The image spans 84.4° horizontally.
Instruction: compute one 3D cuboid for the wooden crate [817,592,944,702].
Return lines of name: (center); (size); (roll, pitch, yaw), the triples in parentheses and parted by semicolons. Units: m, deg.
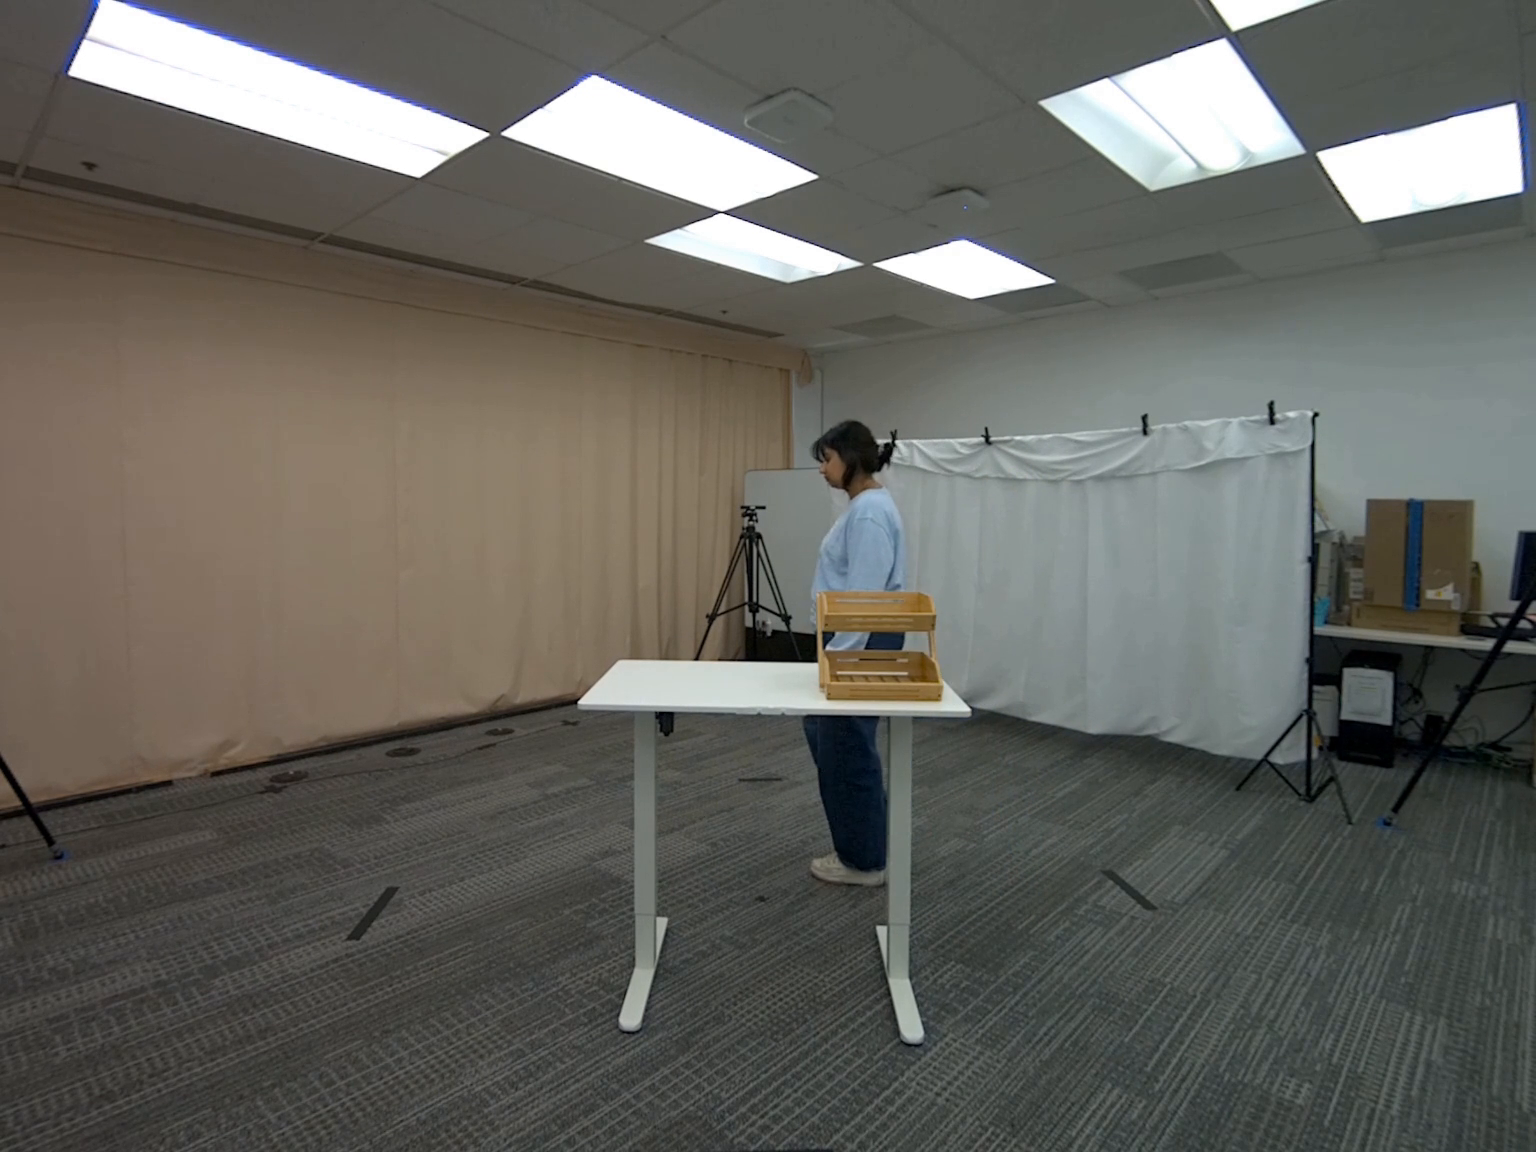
wooden crate: (0.308, 0.184, 2.337); (0.325, 0.273, 0.302); (0, 3, 0)
